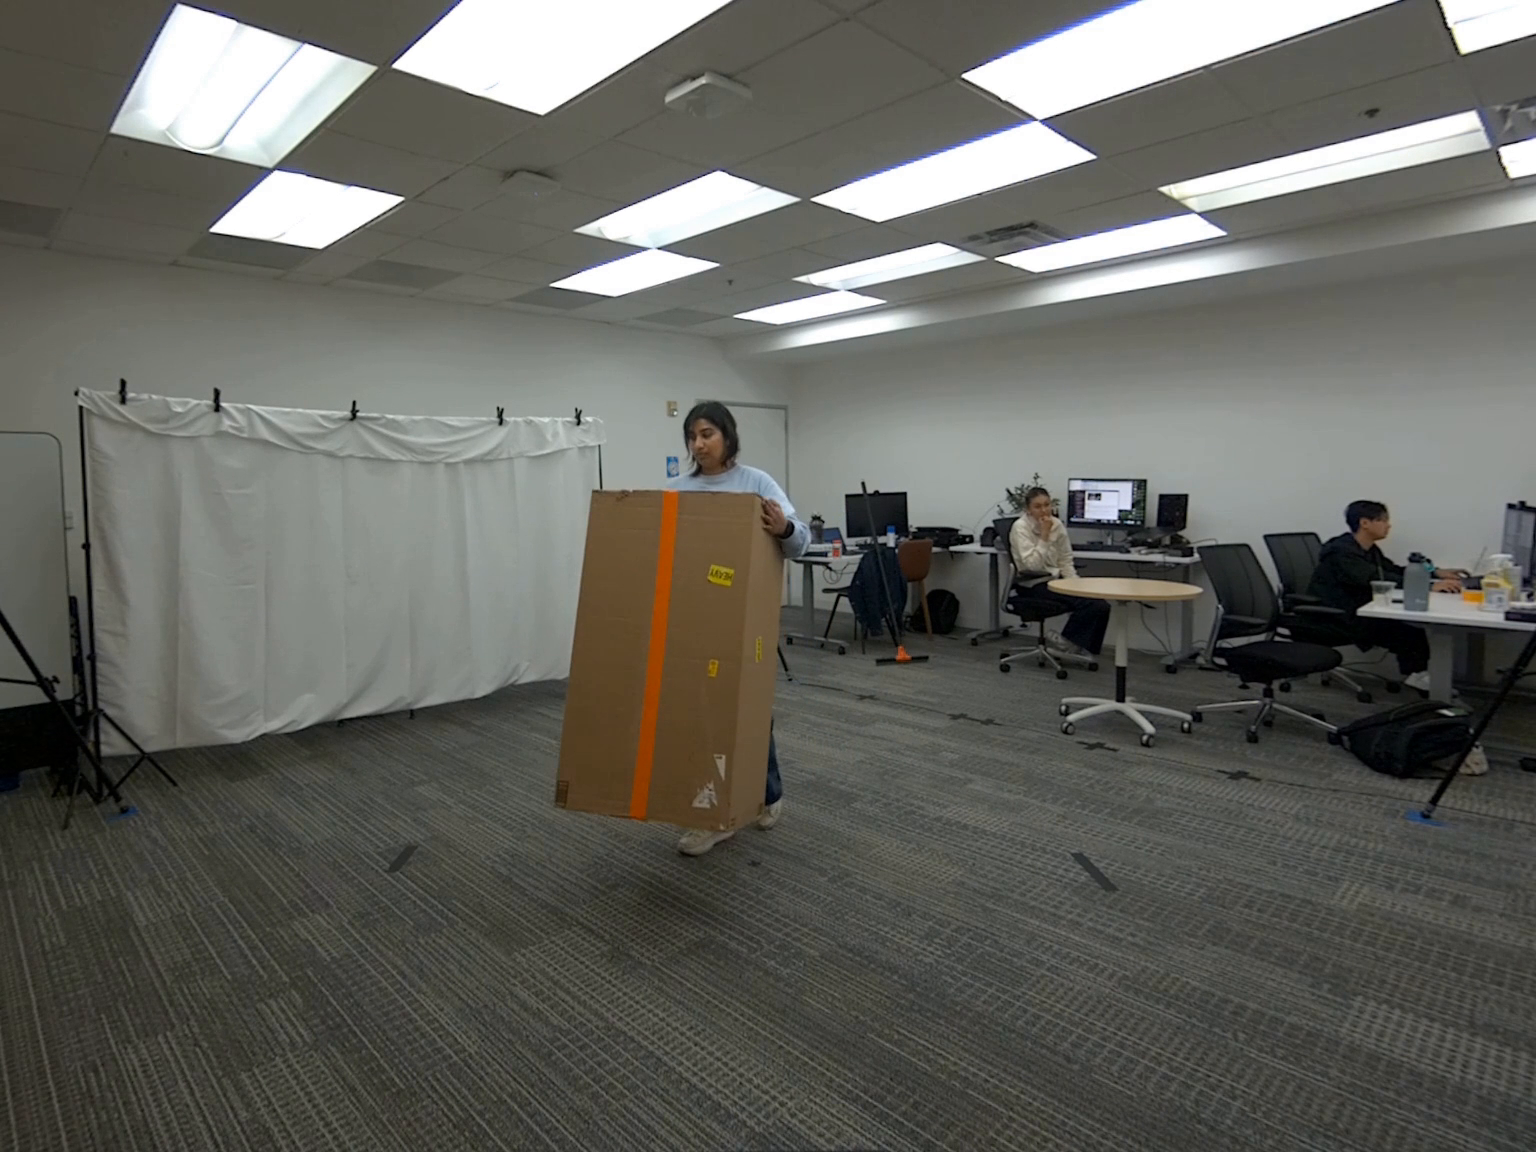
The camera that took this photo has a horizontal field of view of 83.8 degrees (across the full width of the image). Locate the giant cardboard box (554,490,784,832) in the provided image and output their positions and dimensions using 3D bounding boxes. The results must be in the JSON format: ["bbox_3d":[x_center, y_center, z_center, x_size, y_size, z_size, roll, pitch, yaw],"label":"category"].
[{"bbox_3d":[-0.297,0.267,2.855,0.588,1.034,0.415,2,-10,17],"label":"giant cardboard box"}]
